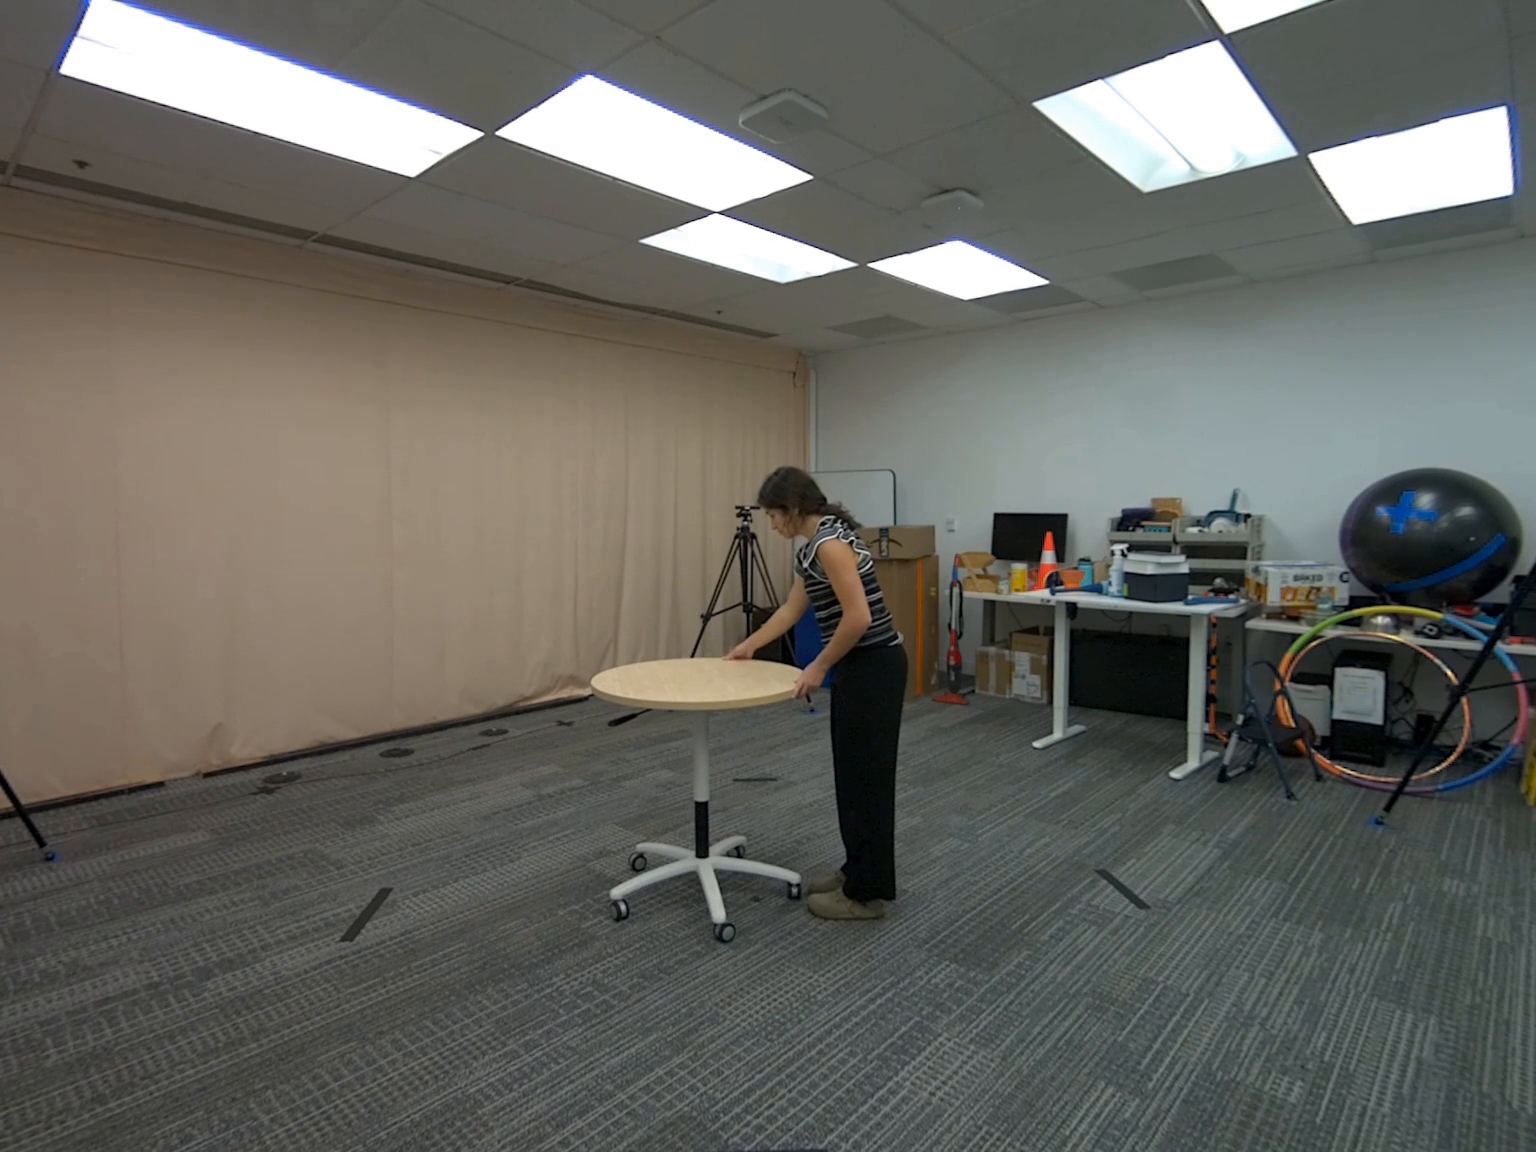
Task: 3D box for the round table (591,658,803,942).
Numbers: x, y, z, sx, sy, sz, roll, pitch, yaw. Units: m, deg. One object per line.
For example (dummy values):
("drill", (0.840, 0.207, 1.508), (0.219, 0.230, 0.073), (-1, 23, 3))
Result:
("round table", (-0.227, 0.749, 3.017), (0.784, 0.785, 0.788), (0, 4, -2))
